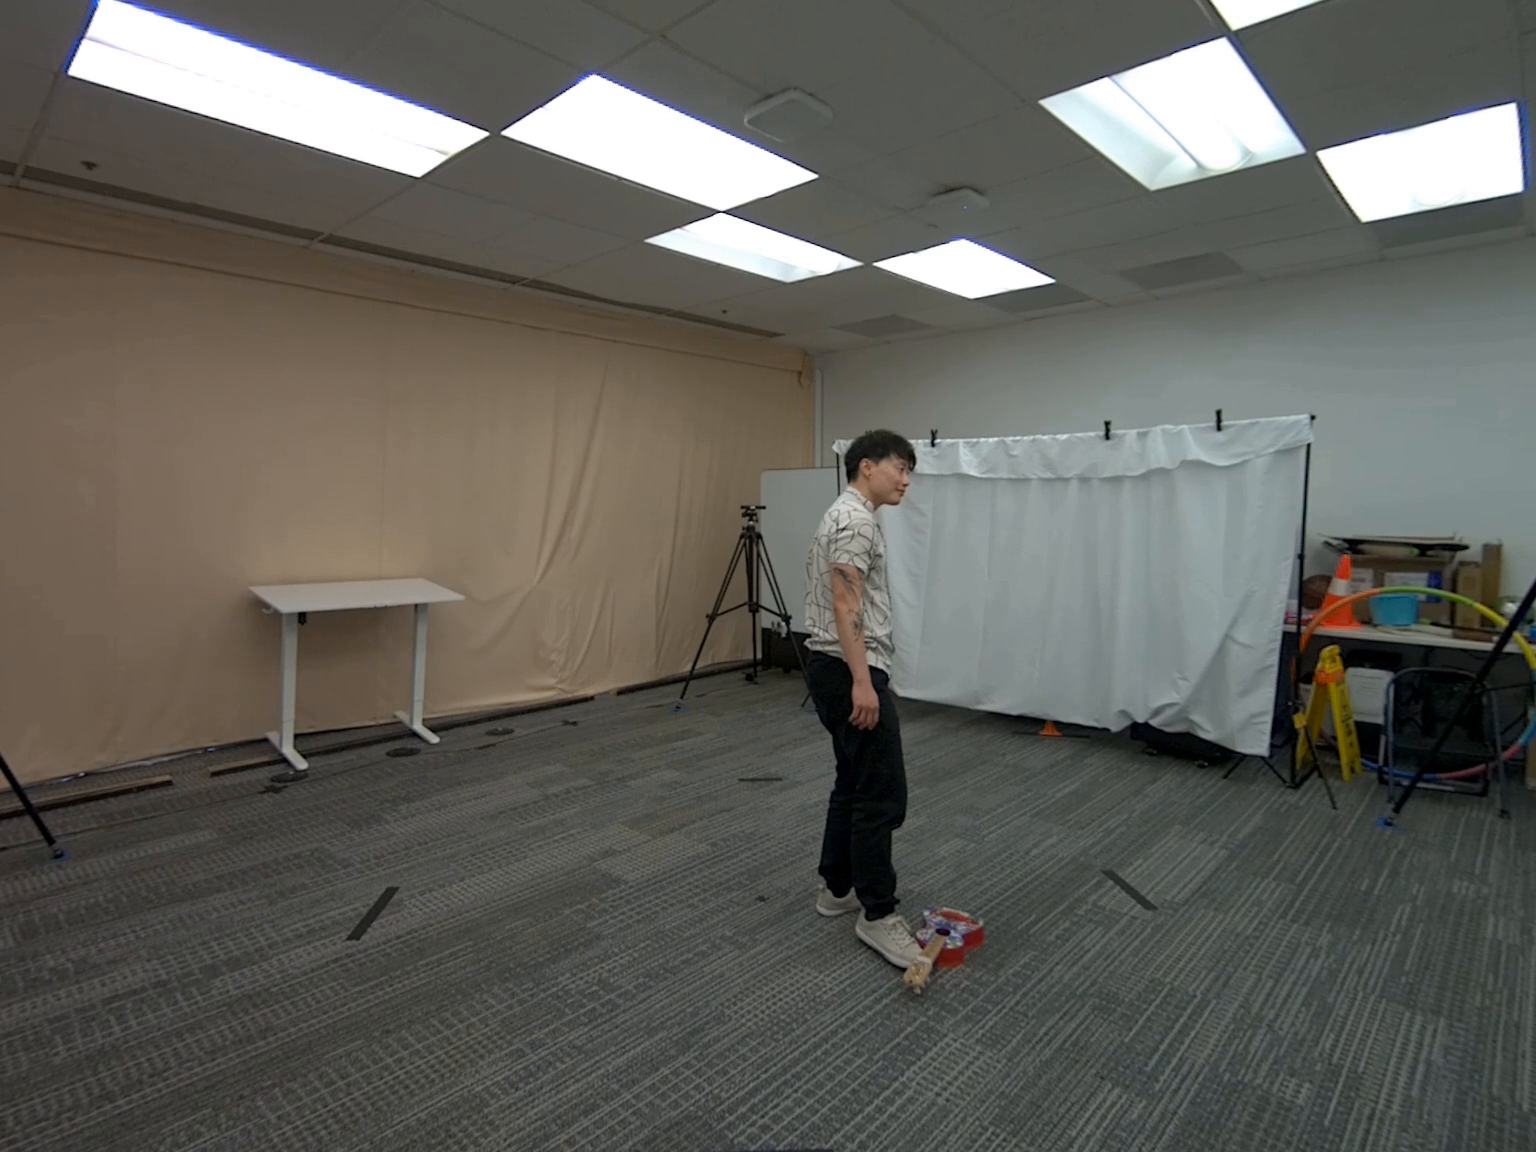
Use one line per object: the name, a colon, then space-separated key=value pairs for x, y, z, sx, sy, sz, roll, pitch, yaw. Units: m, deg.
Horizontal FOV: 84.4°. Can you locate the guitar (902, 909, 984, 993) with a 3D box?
guitar: x=0.491 y=1.142 z=2.576 sx=0.199 sy=0.070 sz=0.483 roll=5 pitch=6 yaw=38
